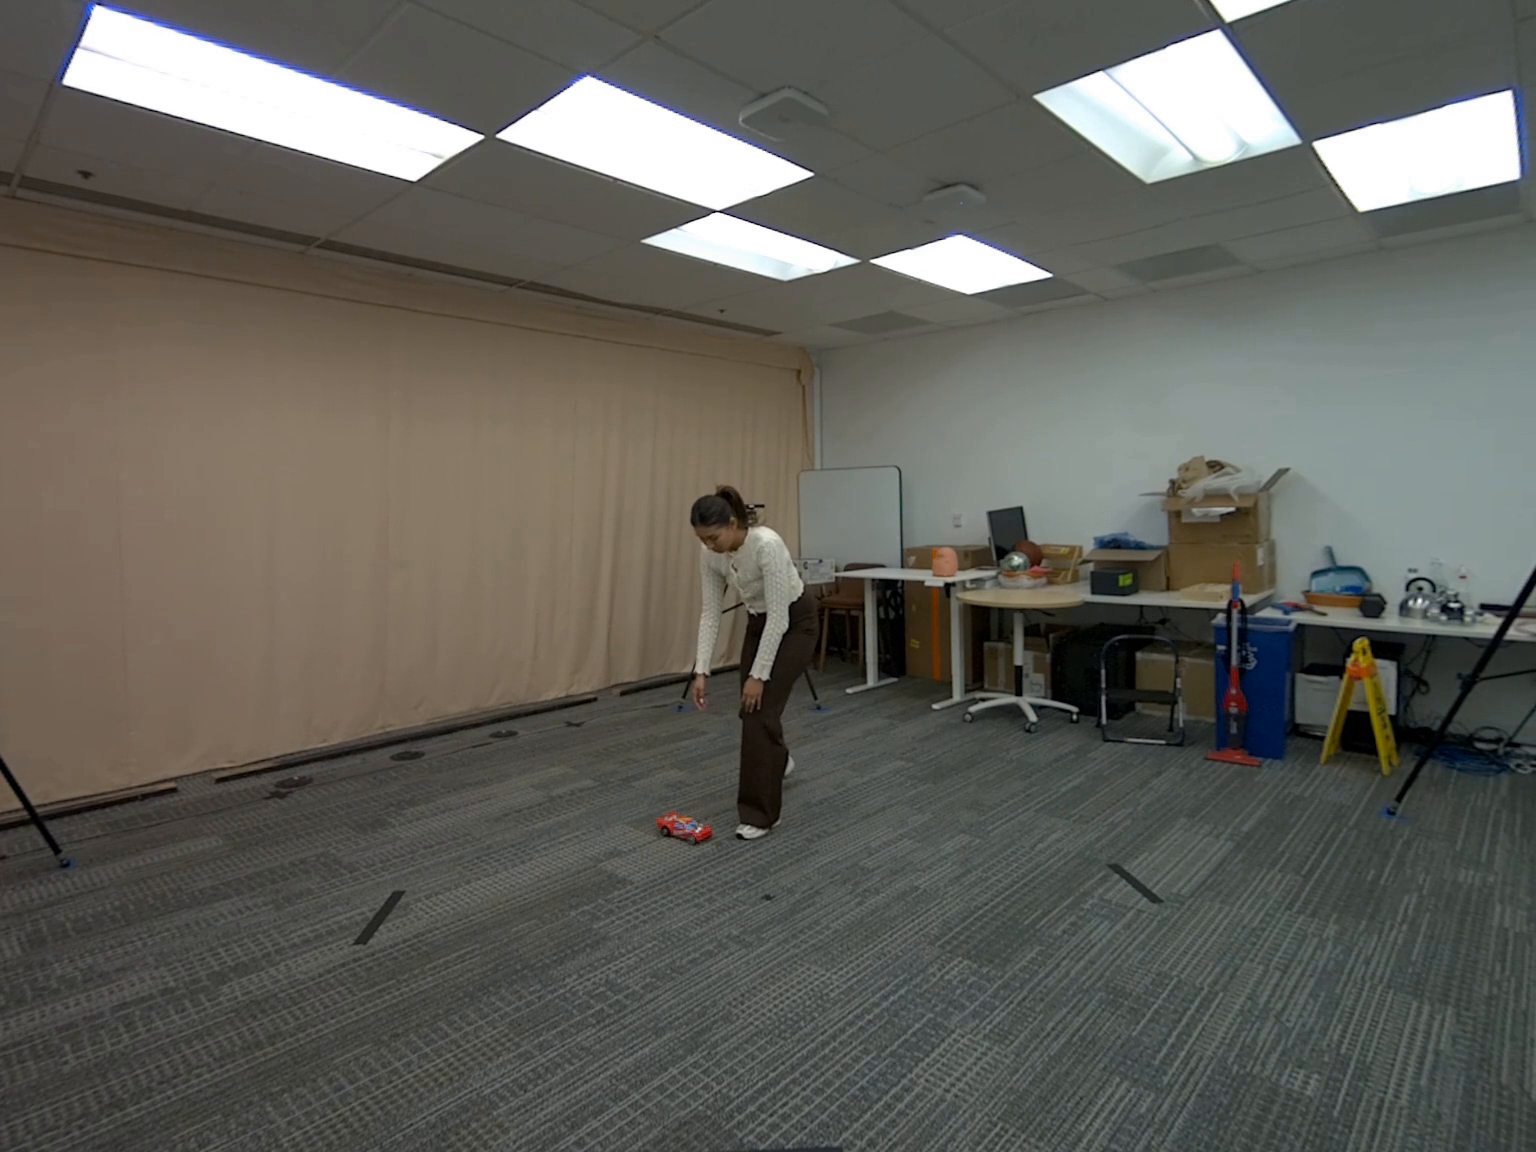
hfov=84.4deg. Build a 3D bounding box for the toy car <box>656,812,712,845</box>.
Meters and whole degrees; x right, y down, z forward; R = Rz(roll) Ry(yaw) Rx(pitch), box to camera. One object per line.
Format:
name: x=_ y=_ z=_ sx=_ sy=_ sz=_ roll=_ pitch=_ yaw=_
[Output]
toy car: x=-0.364 y=1.069 z=3.561 sx=0.263 sy=0.083 sz=0.126 roll=15 pitch=13 yaw=36
